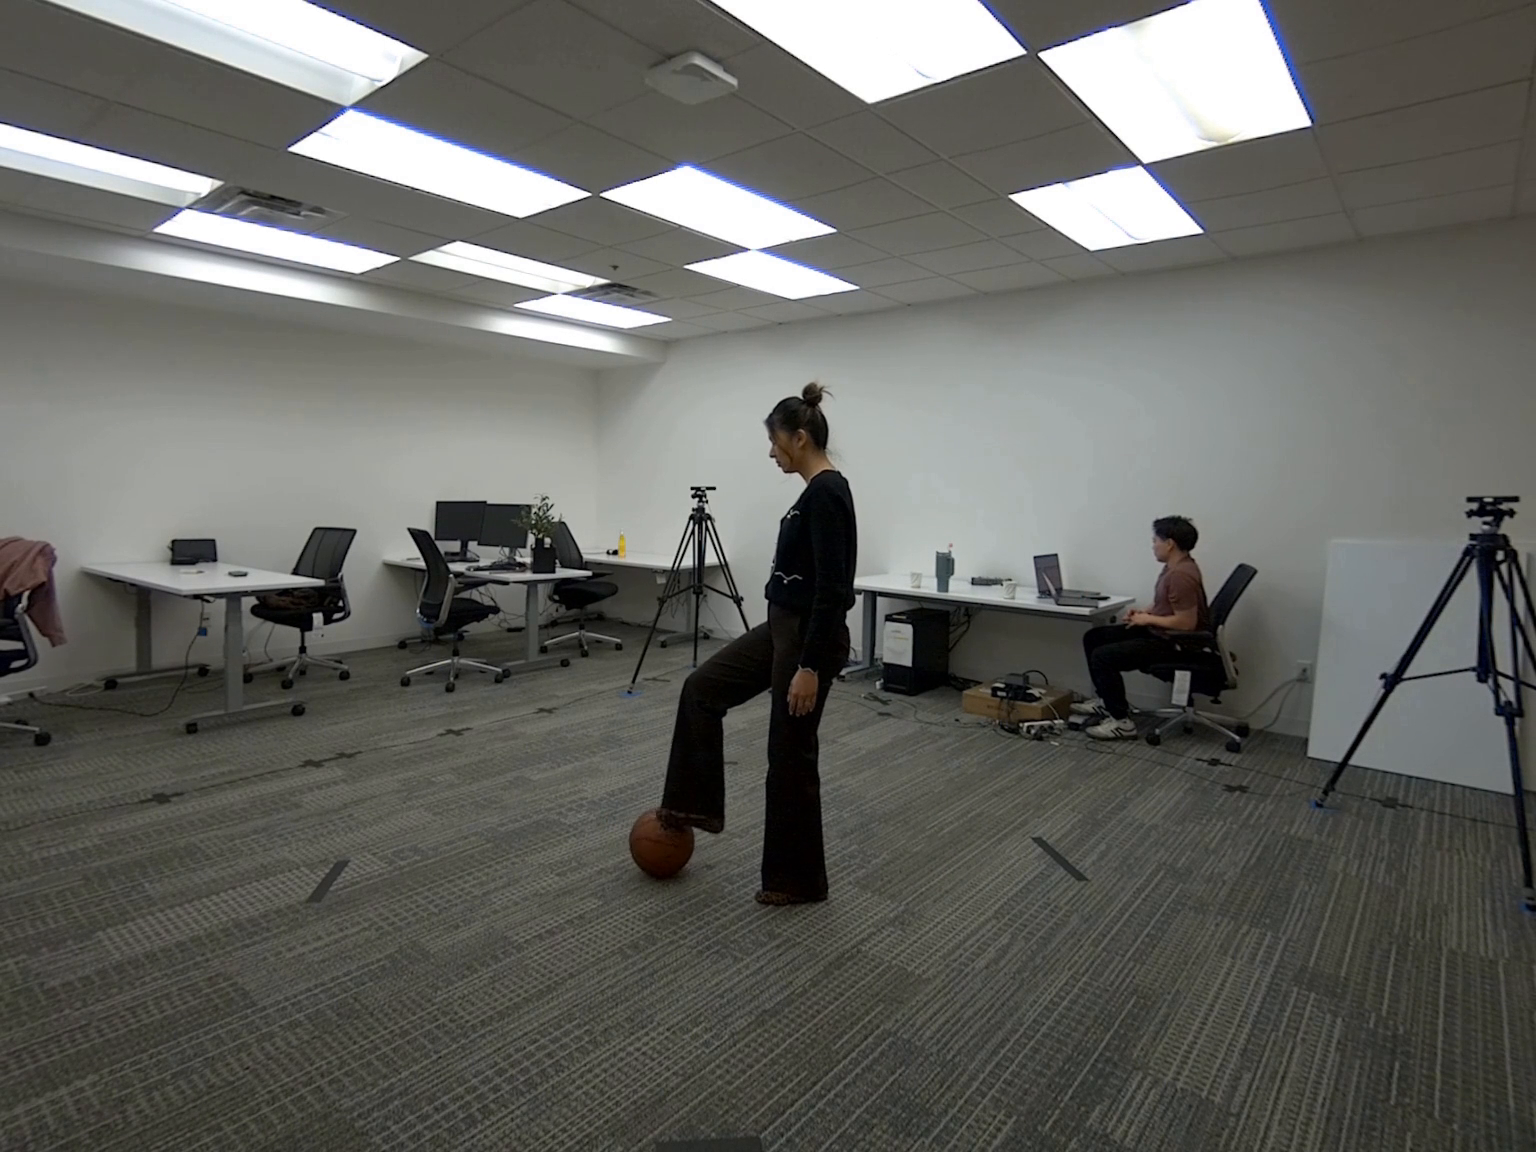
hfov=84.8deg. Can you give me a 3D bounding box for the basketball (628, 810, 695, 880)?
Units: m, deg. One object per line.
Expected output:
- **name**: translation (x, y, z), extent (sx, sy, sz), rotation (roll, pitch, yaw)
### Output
- **basketball**: translation (-0.389, 0.949, 3.061), extent (0.235, 0.235, 0.237), rotation (1, 4, -2)
